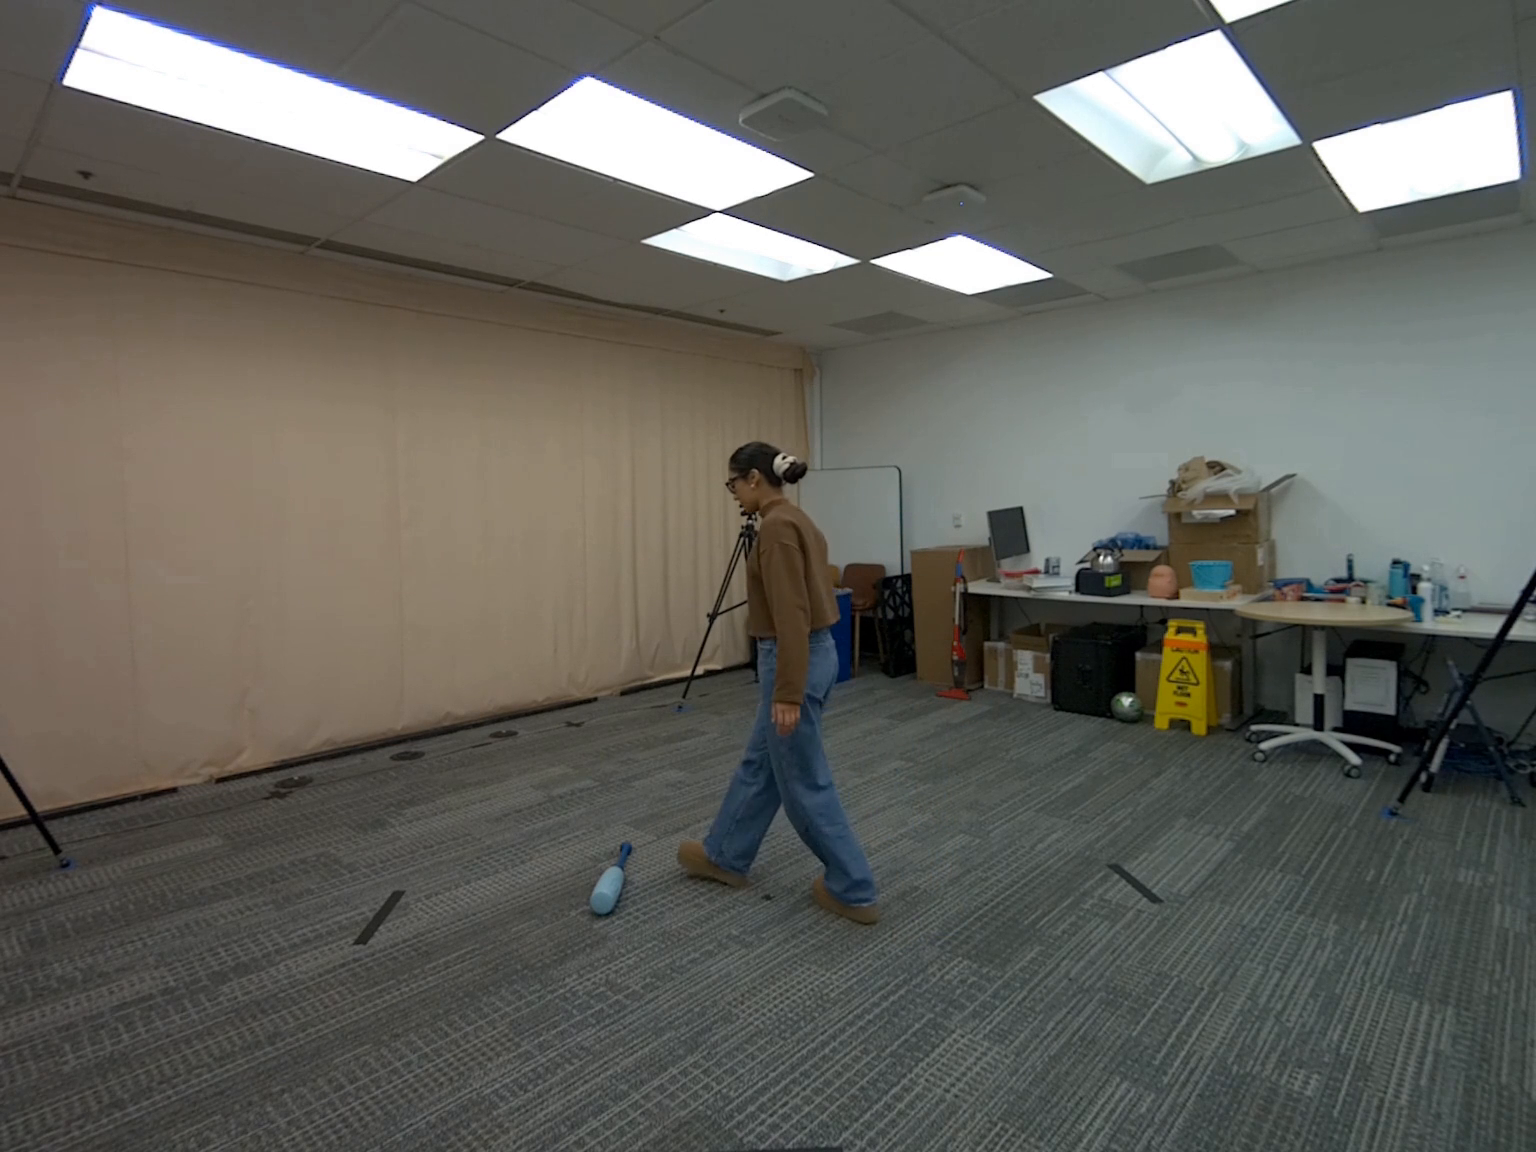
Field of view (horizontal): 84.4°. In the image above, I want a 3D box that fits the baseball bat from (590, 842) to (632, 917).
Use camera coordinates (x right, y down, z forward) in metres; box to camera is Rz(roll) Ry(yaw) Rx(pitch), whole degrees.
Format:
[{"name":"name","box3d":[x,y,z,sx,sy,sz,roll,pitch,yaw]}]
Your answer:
[{"name":"baseball bat","box3d":[-0.567,1.109,3.126,0.089,0.089,0.542,-1,1,0]}]
